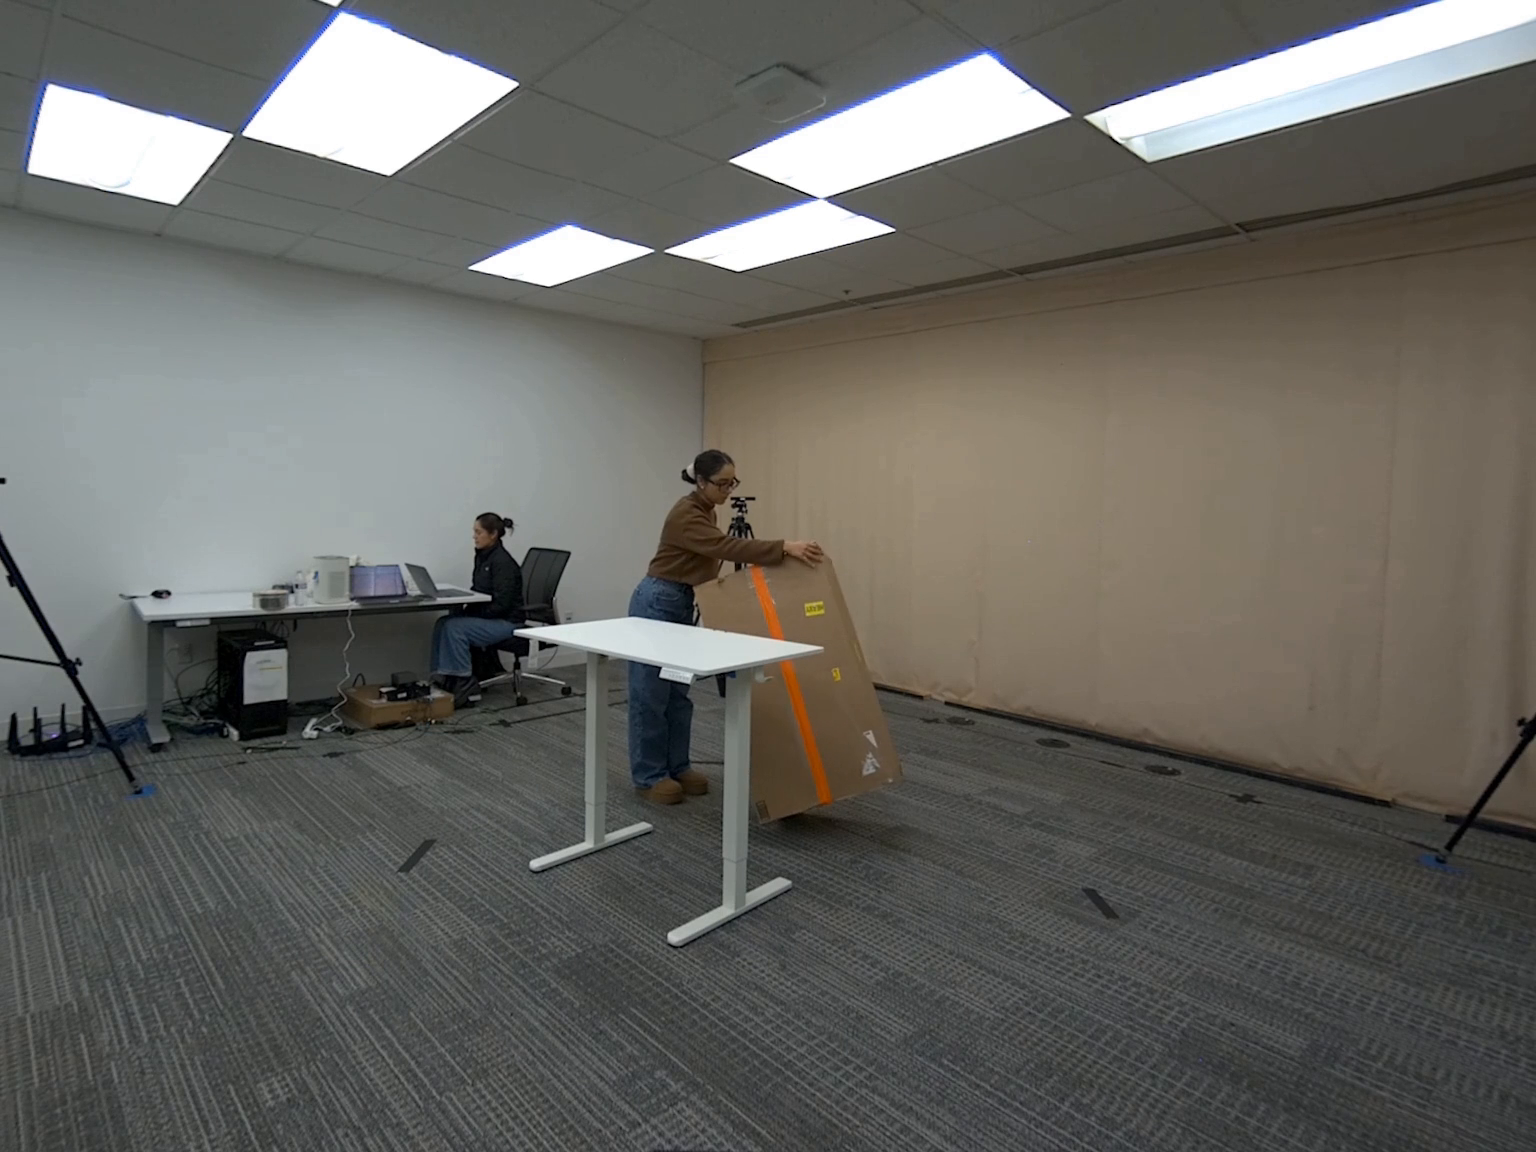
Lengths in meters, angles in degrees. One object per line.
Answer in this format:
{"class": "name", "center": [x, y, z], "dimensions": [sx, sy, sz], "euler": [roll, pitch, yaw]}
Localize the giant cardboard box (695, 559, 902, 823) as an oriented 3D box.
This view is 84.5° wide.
{"class": "giant cardboard box", "center": [0.125, 0.467, 3.668], "dimensions": [0.580, 1.041, 0.418], "euler": [-20, -16, 10]}
